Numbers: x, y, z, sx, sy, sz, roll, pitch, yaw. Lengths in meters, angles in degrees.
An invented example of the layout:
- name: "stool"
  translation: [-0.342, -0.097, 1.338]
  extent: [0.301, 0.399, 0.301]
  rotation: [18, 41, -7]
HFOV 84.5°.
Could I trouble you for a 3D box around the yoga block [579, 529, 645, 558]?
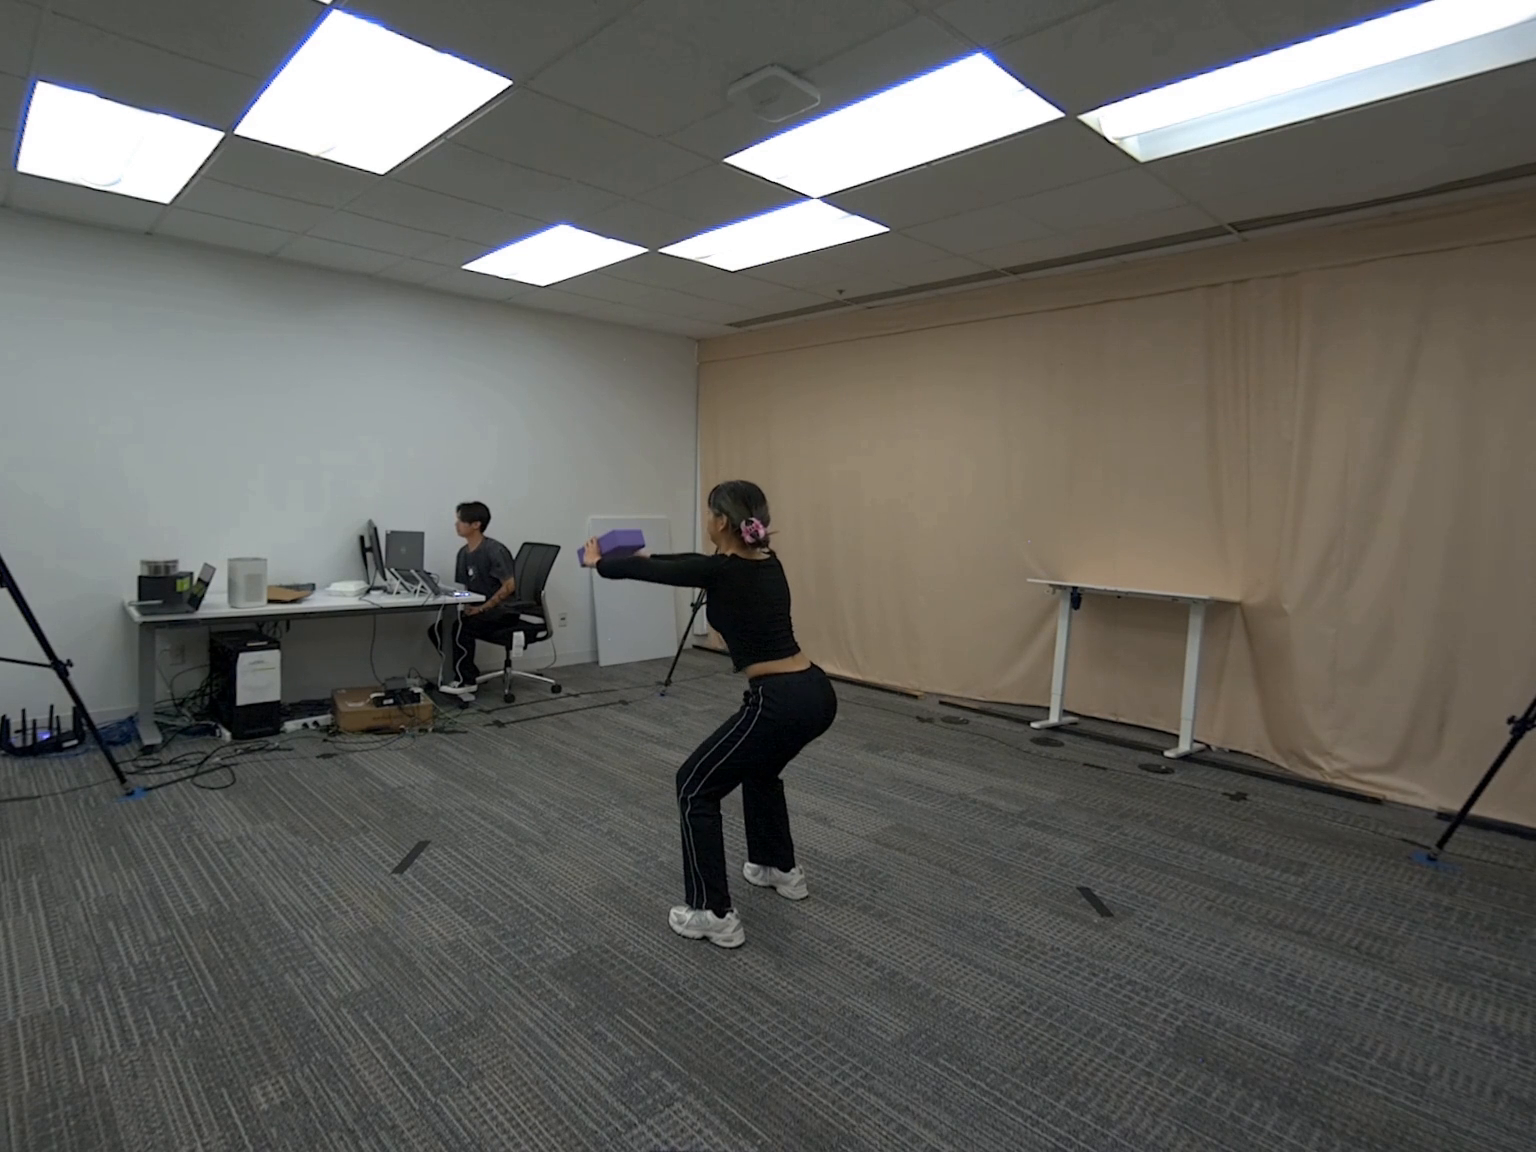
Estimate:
- name: "yoga block"
  translation: [-0.590, -0.108, 3.136]
  extent: [0.232, 0.077, 0.146]
  rotation: [-26, -13, 37]
